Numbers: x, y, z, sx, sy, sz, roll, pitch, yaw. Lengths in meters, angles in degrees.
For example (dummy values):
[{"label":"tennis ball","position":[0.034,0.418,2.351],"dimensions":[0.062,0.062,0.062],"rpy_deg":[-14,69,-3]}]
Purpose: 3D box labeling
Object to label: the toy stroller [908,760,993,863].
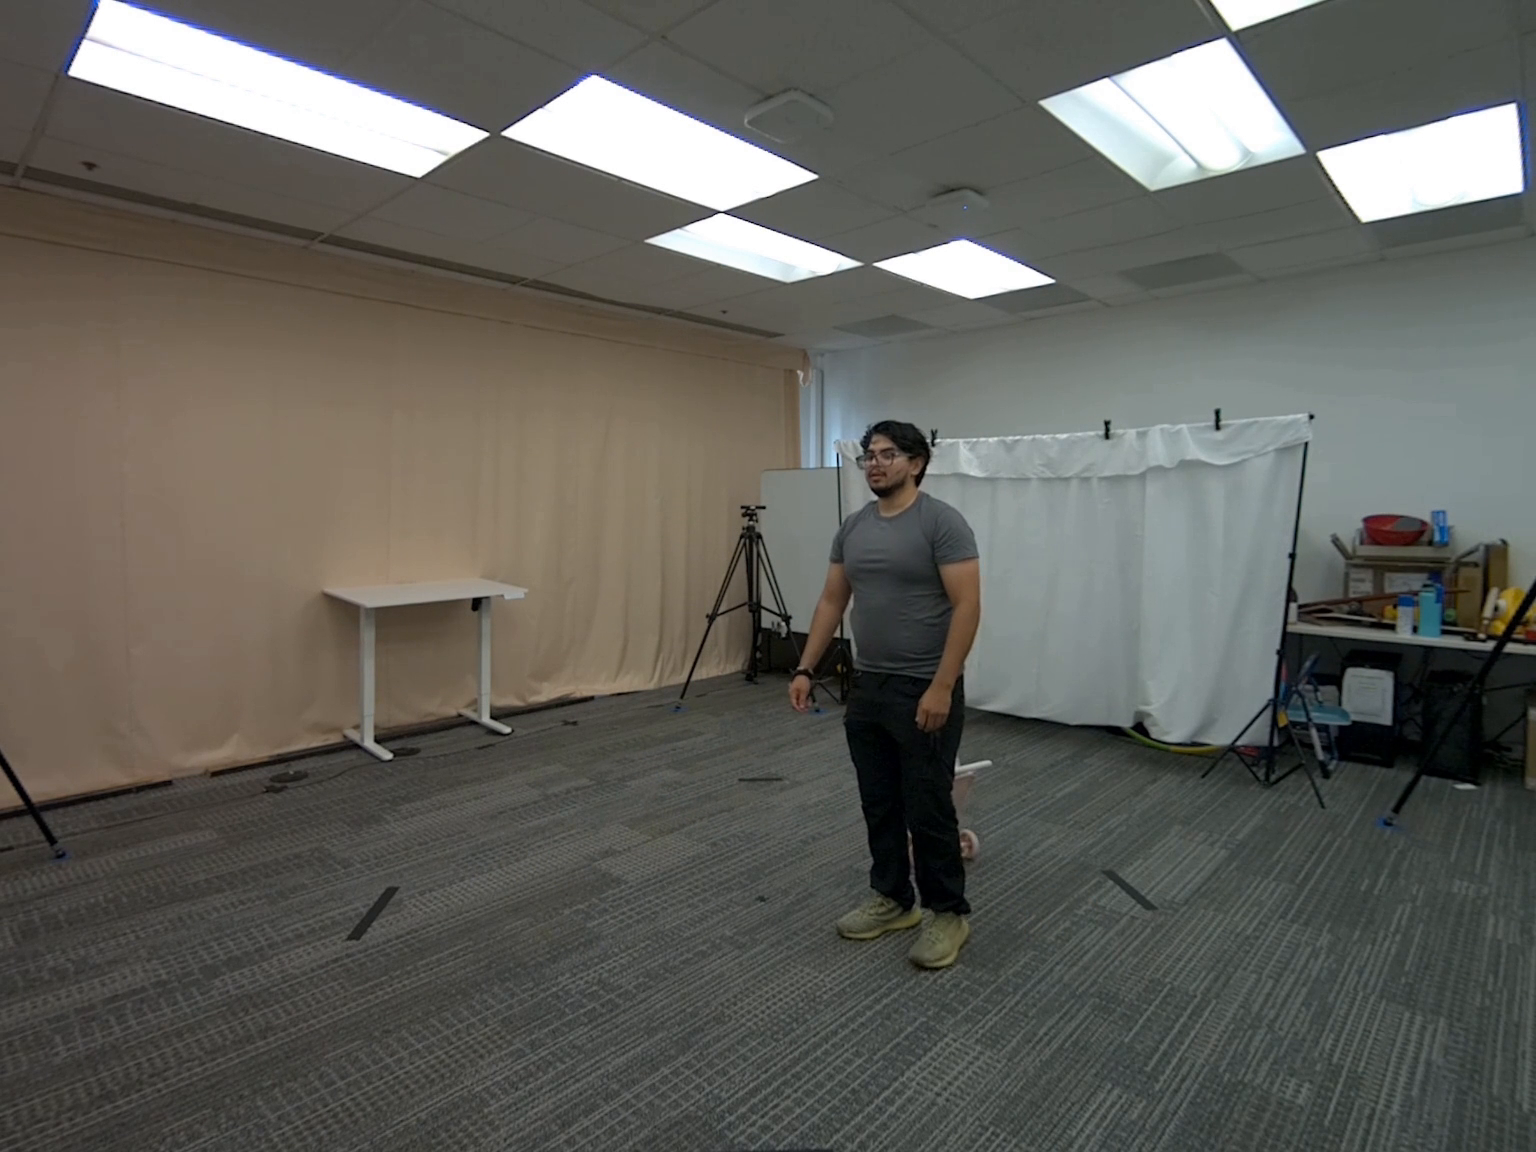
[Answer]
[{"label":"toy stroller","position":[0.662,0.888,3.318],"dimensions":[0.274,0.530,0.353],"rpy_deg":[-2,19,-28]}]
